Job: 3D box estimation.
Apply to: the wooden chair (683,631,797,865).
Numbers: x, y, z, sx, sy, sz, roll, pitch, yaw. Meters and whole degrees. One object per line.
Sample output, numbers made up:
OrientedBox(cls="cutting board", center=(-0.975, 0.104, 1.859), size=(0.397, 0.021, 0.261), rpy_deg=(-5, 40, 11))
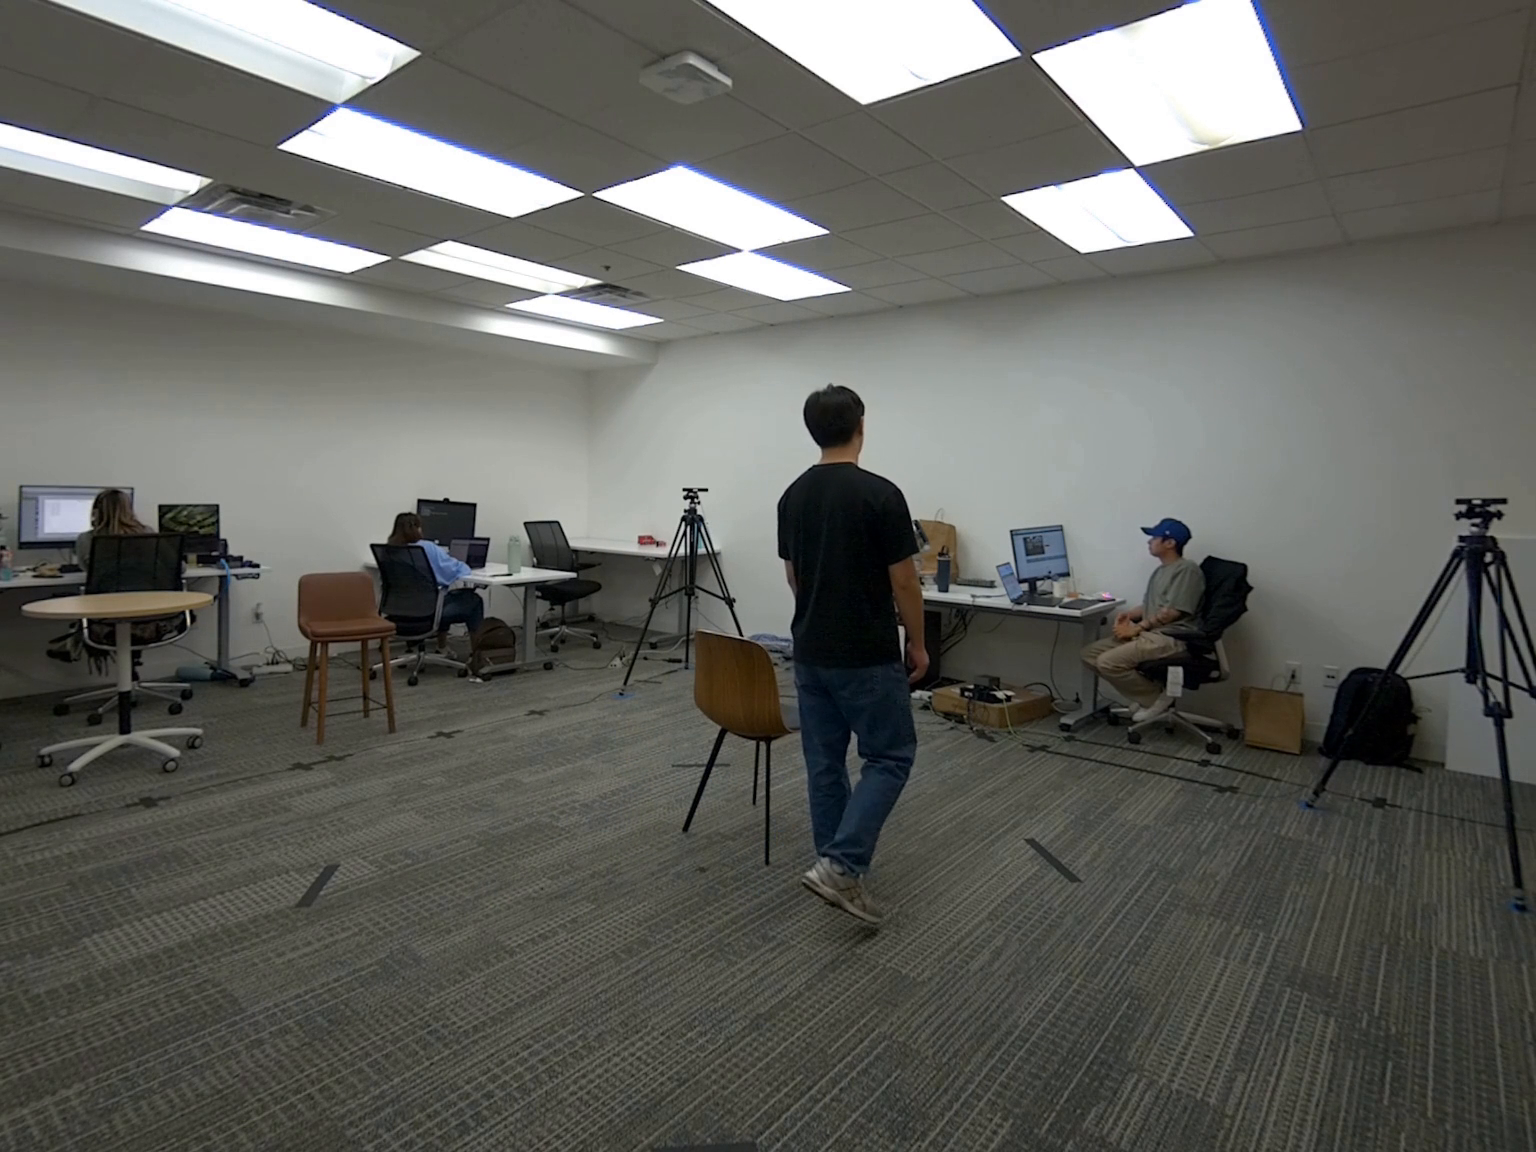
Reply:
OrientedBox(cls="wooden chair", center=(-0.031, 0.612, 3.443), size=(0.494, 0.872, 0.509), rpy_deg=(4, 8, 40))
